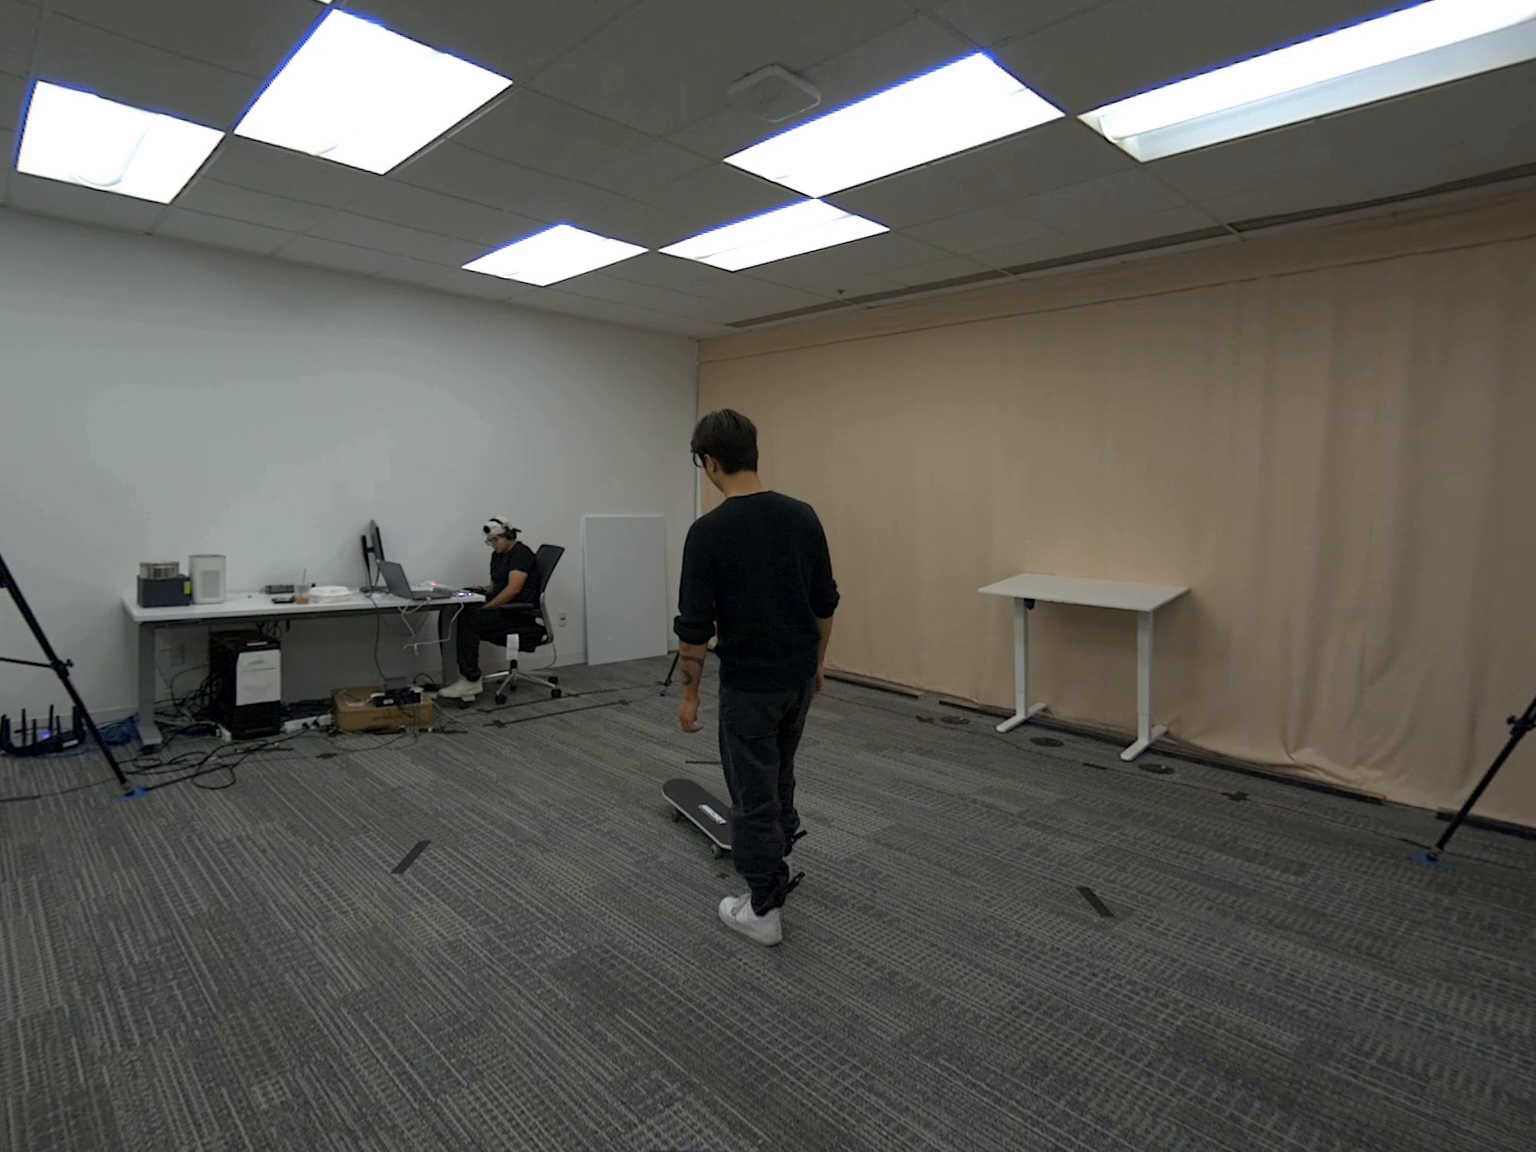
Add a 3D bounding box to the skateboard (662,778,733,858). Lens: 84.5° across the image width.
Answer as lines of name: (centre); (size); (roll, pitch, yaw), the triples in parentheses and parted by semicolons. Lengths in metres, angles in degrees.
skateboard: (-0.241, 1.016, 3.468); (0.190, 0.110, 0.803); (-1, 6, -28)
